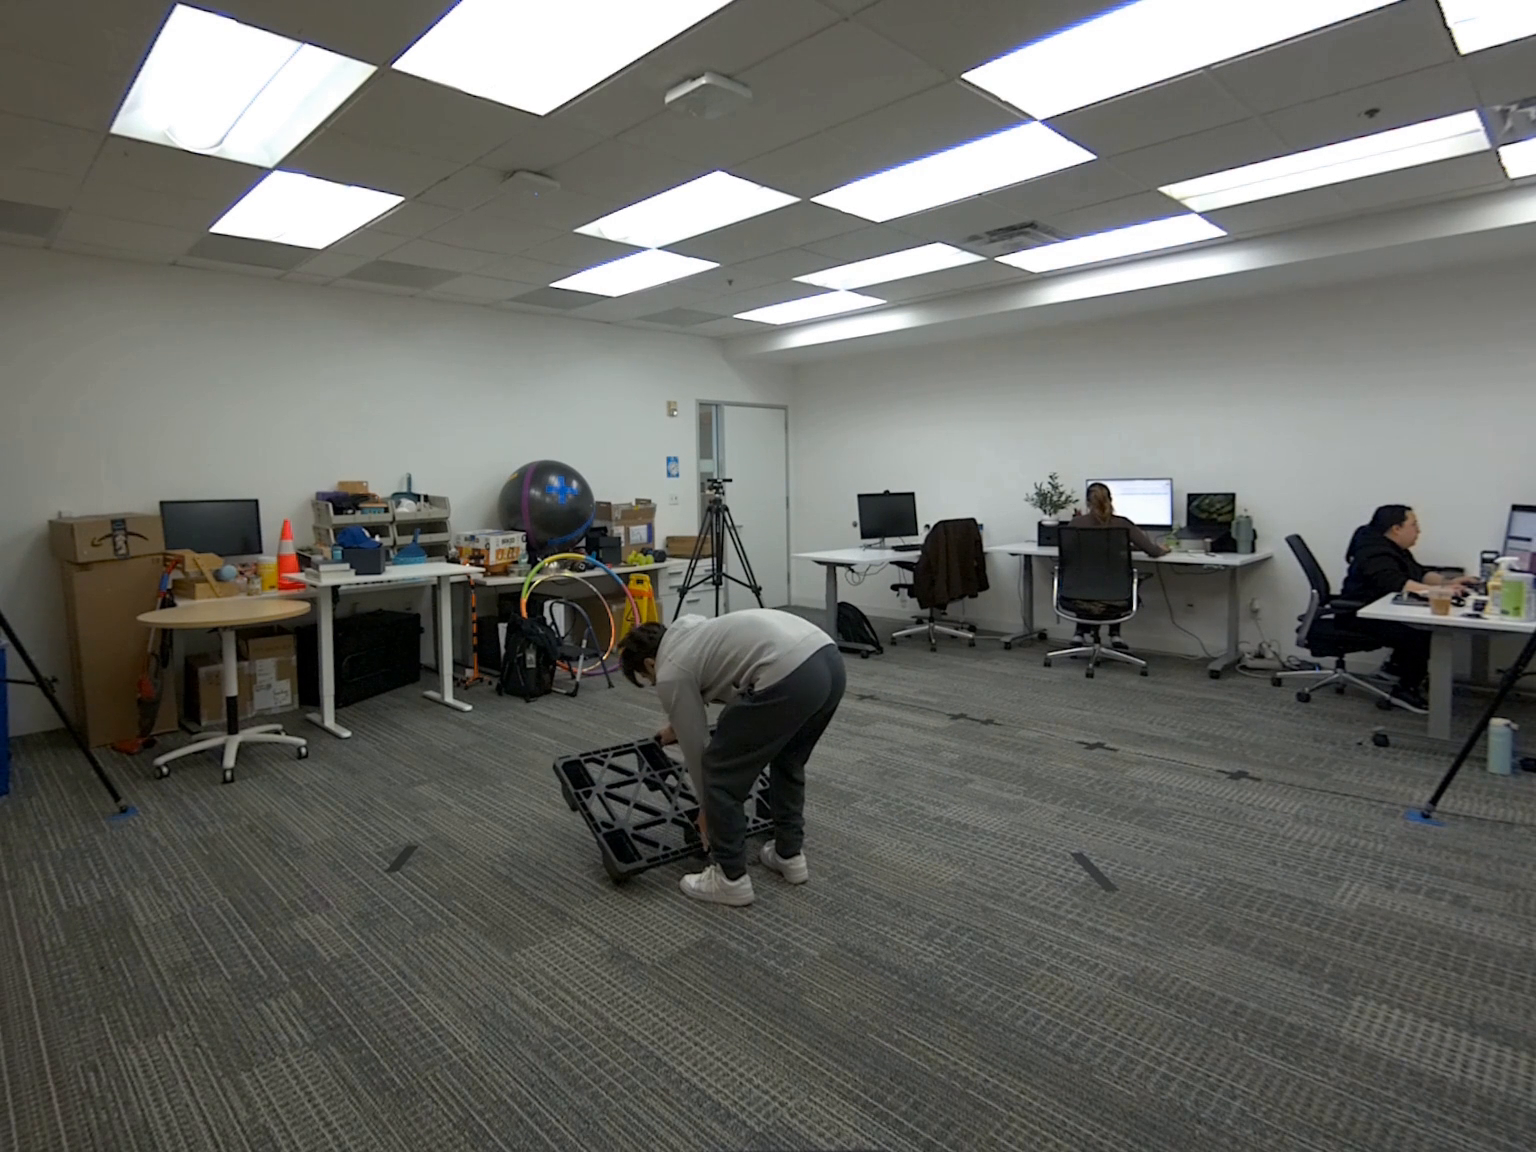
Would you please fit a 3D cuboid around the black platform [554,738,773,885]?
[{"bbox_3d":[-0.359,0.875,3.314,0.785,0.141,0.629,-6,32,-36],"label":"black platform"}]
